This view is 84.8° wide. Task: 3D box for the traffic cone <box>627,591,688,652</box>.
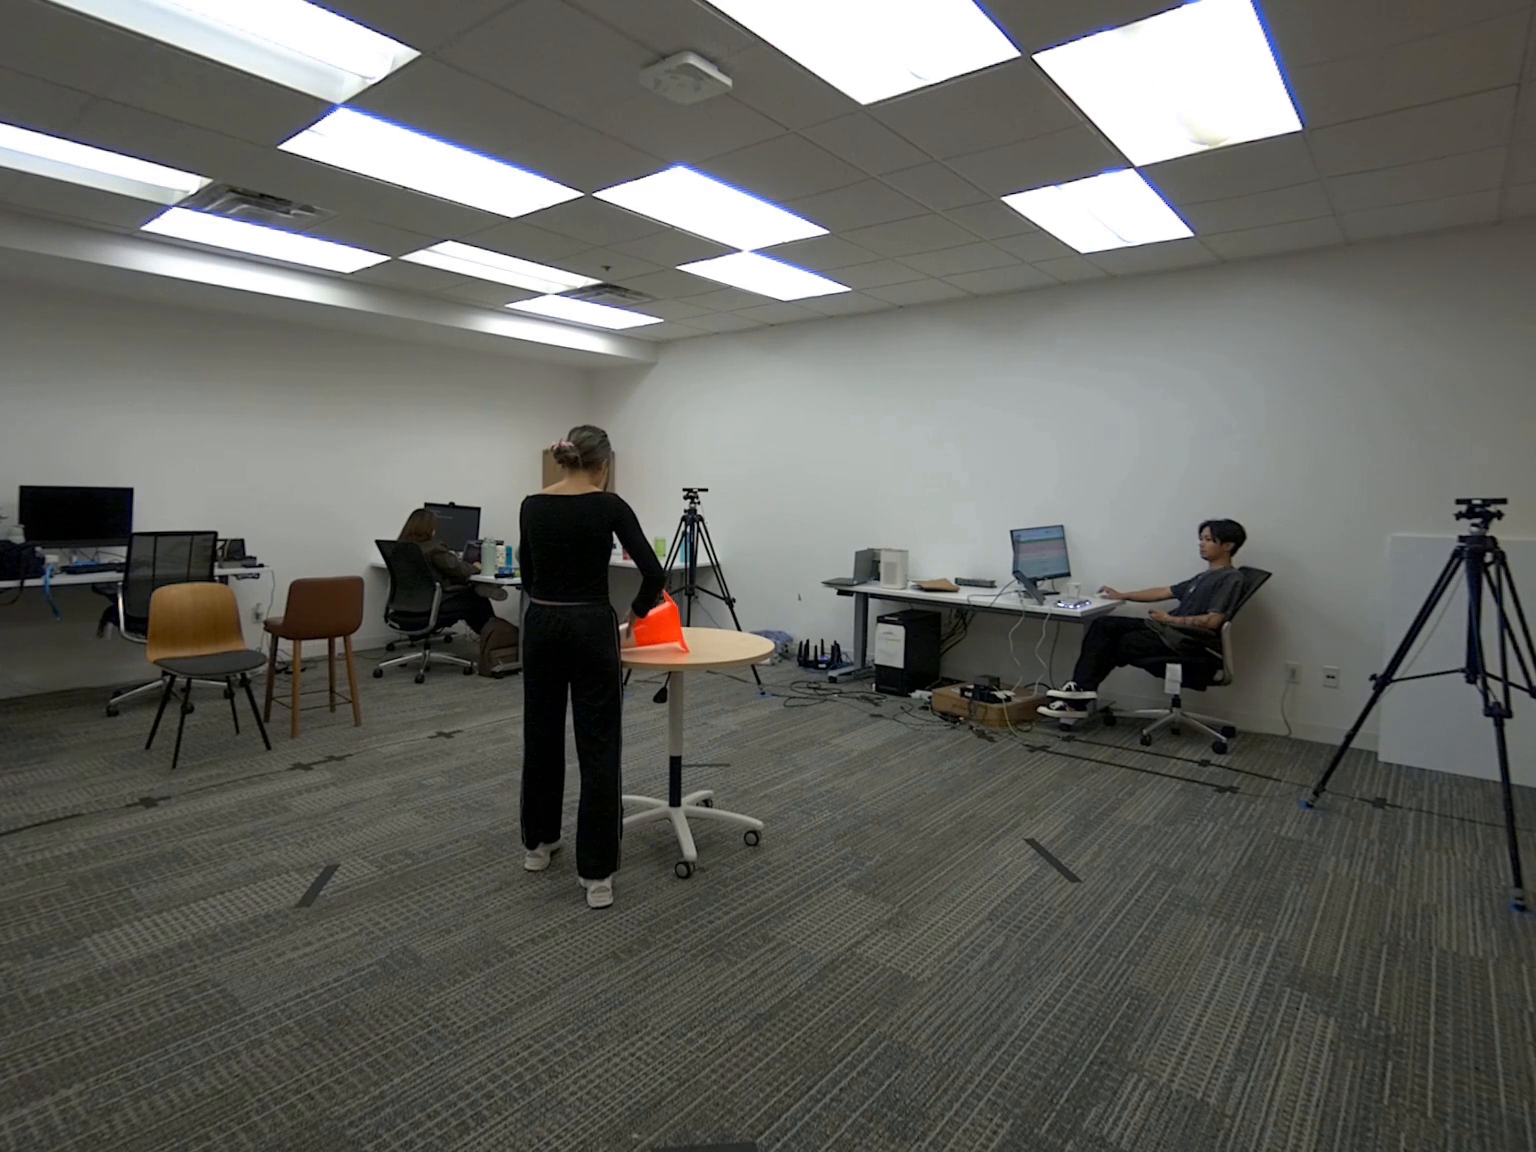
[{"bbox_3d":[-0.536,0.226,3.152,0.380,0.200,0.210,-17,15,-13],"label":"traffic cone"}]
